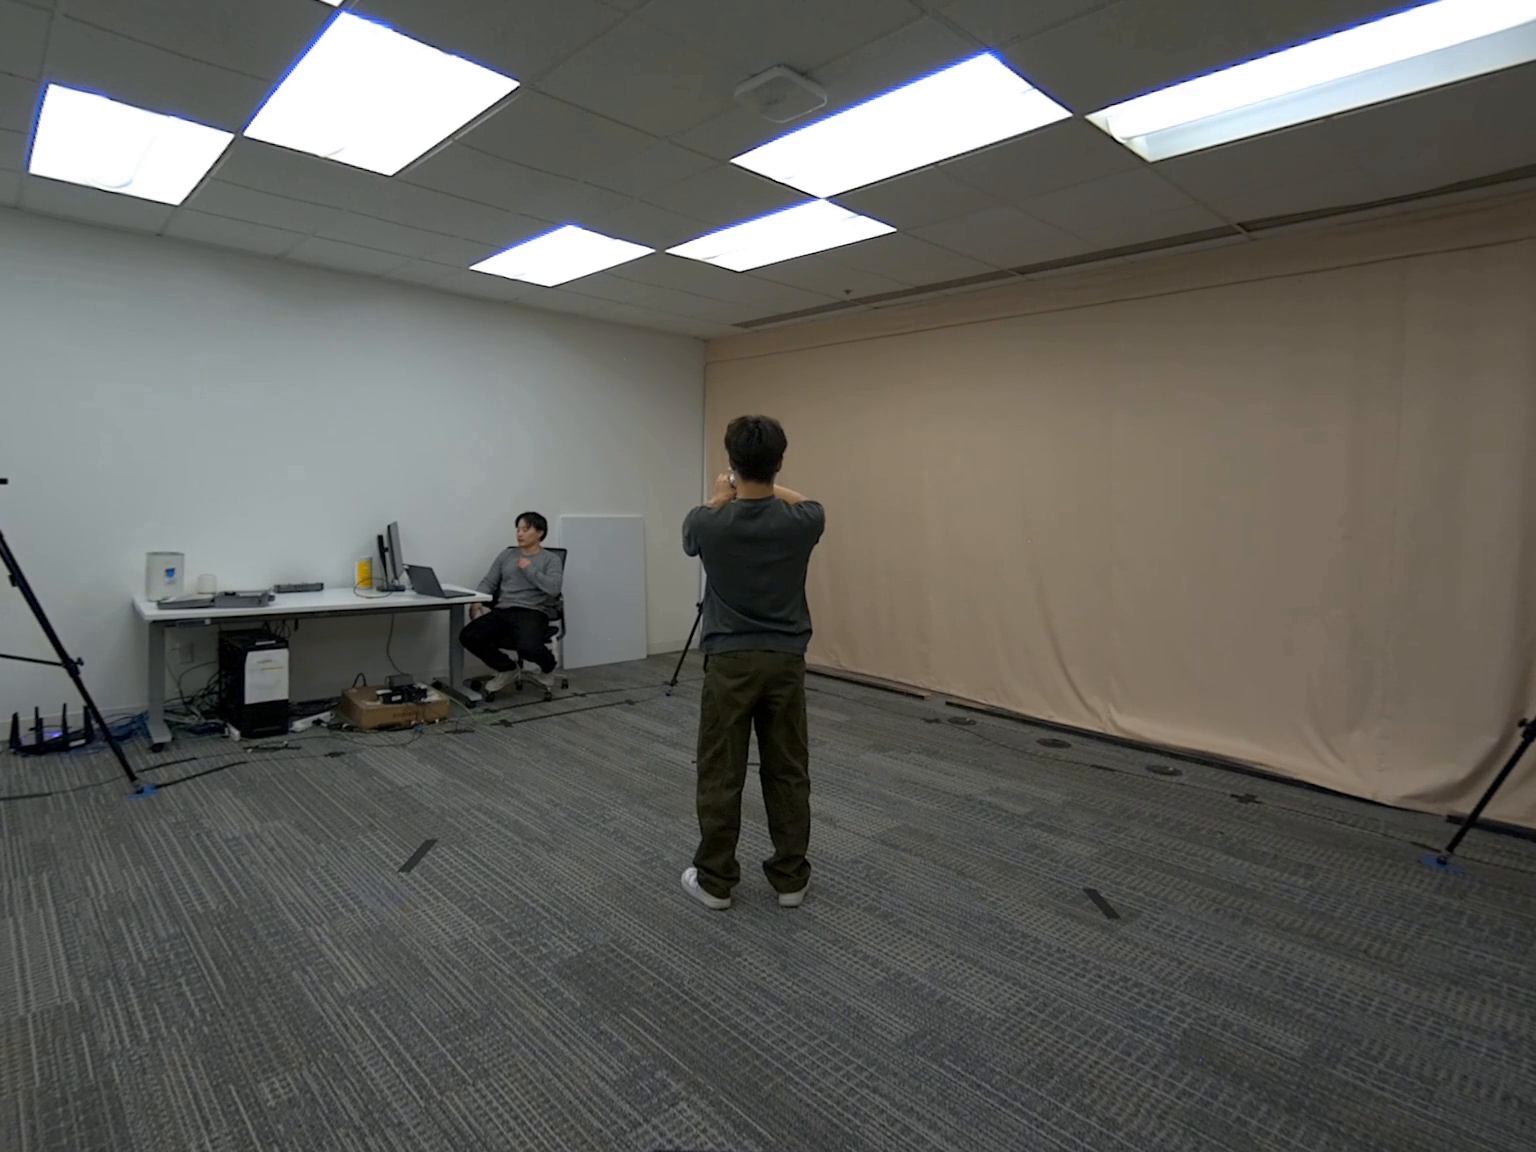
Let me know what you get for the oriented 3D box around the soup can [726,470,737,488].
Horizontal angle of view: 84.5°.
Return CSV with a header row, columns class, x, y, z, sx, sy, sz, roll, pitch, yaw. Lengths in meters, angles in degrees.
class,x,y,z,sx,sy,sz,roll,pitch,yaw
soup can,-0.124,-0.387,3.352,0.067,0.121,0.067,27,-1,-1
